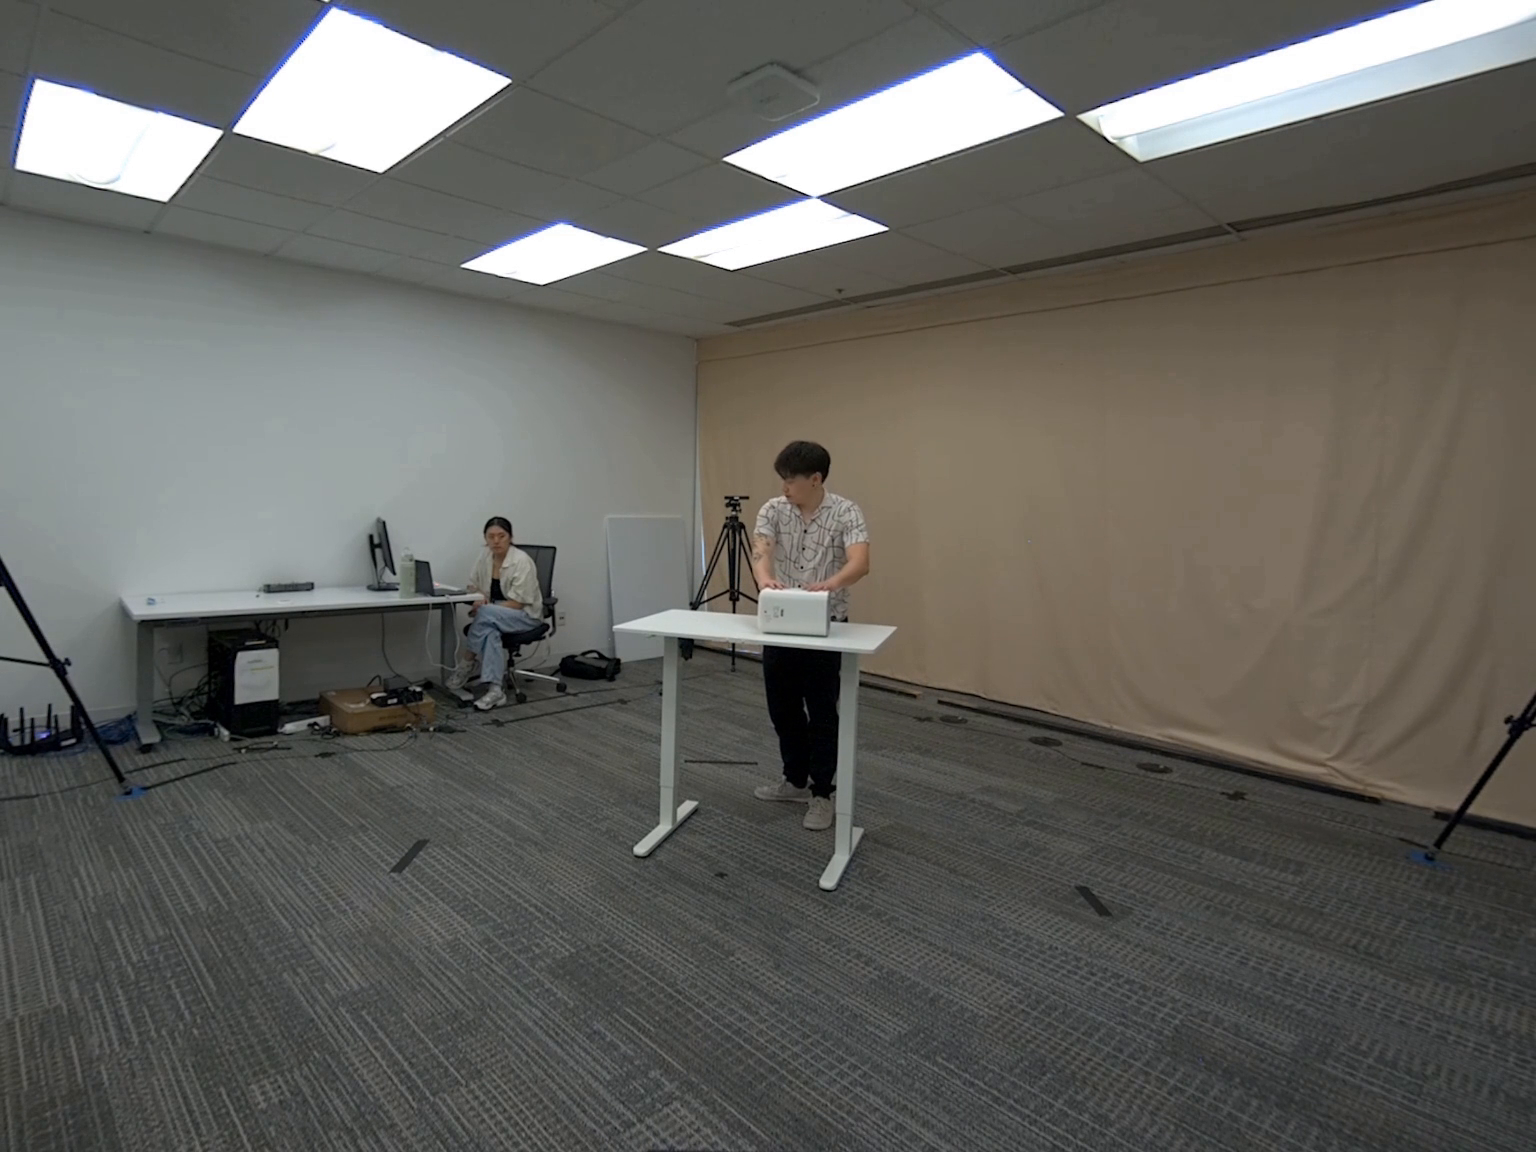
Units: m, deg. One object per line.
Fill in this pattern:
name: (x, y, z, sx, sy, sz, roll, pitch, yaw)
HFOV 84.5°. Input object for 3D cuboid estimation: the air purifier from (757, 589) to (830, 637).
air purifier: (0.087, 0.135, 3.203, 0.268, 0.171, 0.170, 0, 2, 11)
